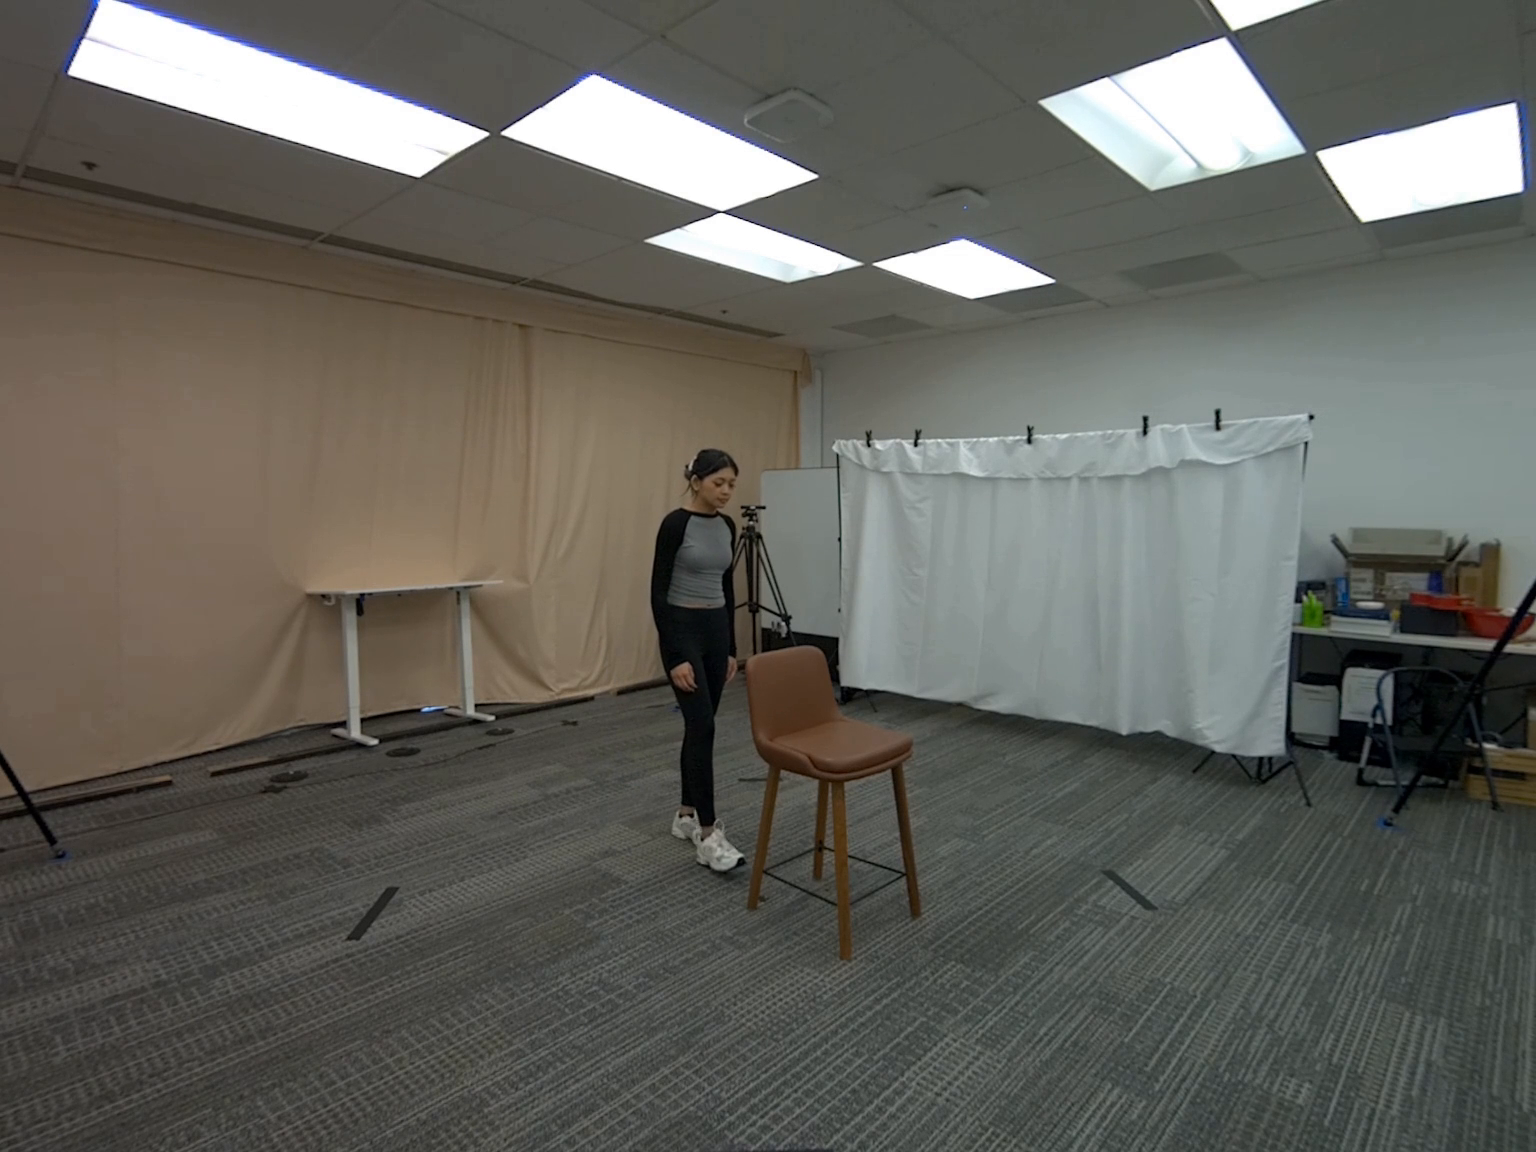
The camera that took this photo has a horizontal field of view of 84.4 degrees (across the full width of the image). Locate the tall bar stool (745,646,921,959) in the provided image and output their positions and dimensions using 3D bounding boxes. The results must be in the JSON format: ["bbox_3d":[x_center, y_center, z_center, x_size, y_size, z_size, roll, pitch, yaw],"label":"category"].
[{"bbox_3d":[0.217,0.720,2.855,0.442,0.888,0.483,-4,3,-44],"label":"tall bar stool"}]
